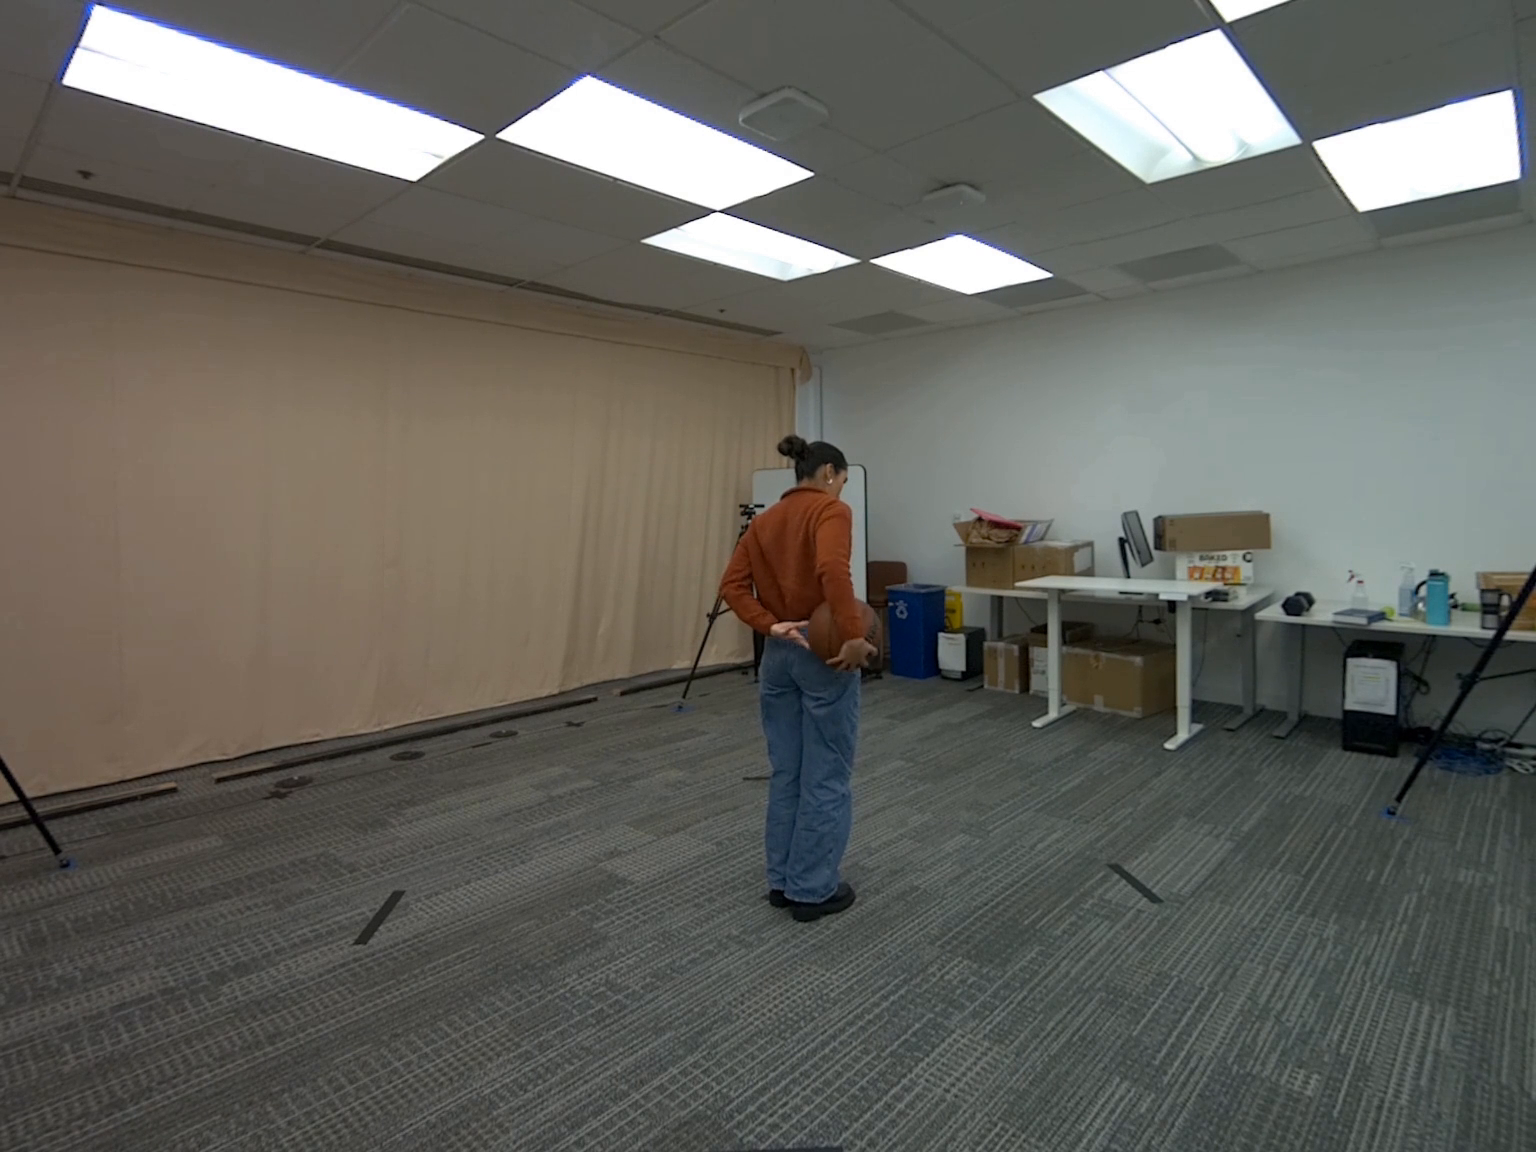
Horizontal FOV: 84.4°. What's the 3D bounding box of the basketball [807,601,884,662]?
[{"bbox_3d":[0.244,0.178,2.703,0.236,0.235,0.237,-1,4,-2],"label":"basketball"}]
